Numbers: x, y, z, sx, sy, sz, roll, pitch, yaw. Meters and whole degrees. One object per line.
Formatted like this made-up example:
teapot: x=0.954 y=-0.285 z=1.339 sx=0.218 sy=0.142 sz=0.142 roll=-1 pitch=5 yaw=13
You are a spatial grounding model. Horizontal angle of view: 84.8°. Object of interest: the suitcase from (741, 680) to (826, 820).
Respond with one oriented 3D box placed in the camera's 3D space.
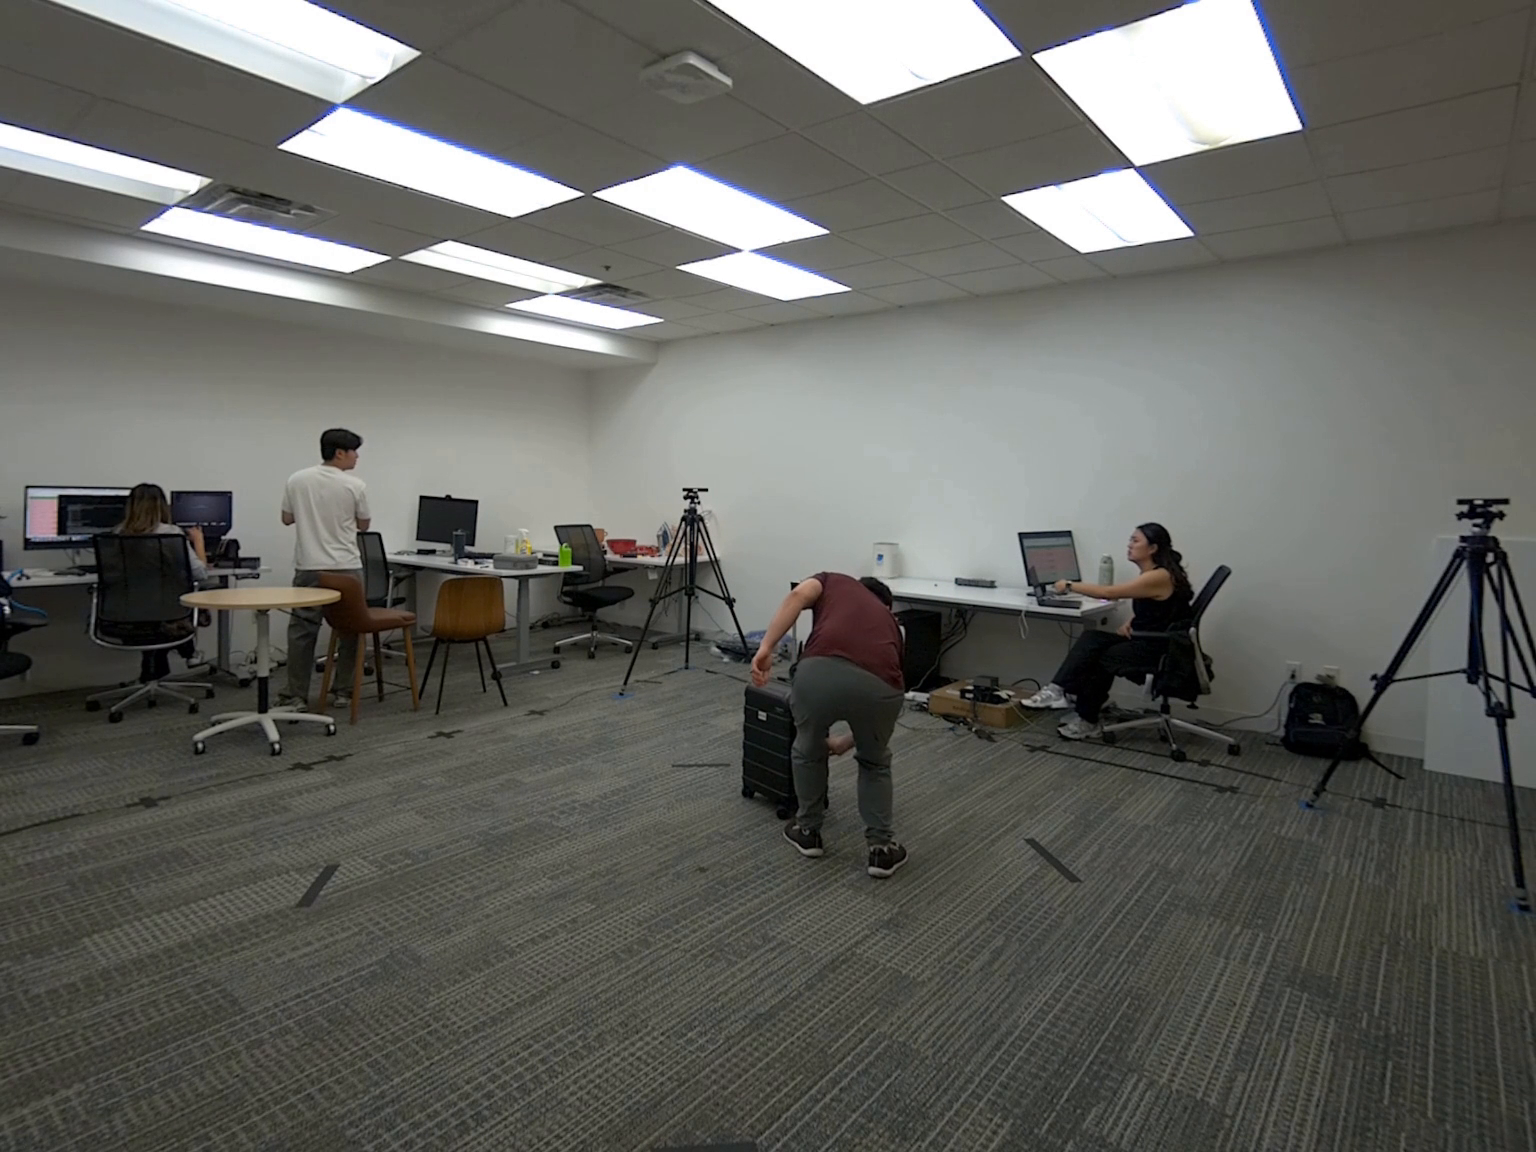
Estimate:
suitcase: x=0.063 y=0.534 z=3.767 sx=0.250 sy=0.974 sz=0.397 roll=-5 pitch=6 yaw=-36
